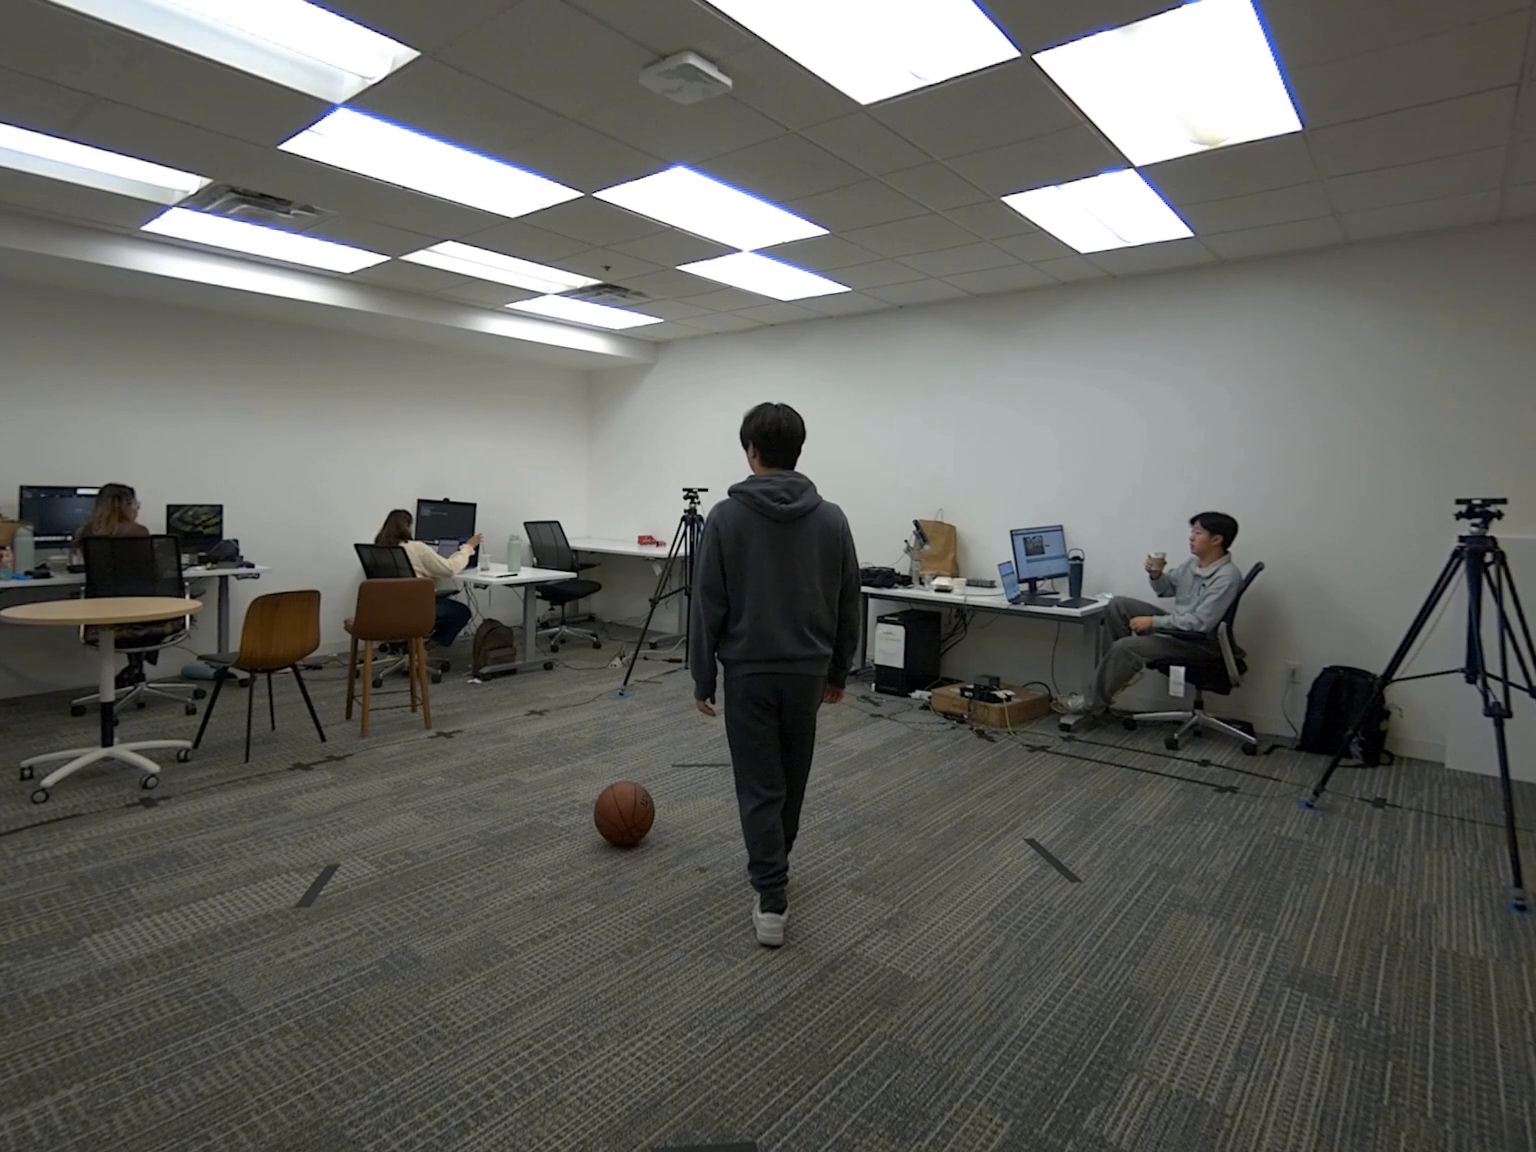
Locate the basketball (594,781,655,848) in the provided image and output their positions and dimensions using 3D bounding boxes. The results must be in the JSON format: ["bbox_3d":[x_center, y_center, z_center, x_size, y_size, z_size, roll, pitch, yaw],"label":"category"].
[{"bbox_3d":[-0.572,0.920,3.324,0.235,0.235,0.237,1,4,-2],"label":"basketball"}]
